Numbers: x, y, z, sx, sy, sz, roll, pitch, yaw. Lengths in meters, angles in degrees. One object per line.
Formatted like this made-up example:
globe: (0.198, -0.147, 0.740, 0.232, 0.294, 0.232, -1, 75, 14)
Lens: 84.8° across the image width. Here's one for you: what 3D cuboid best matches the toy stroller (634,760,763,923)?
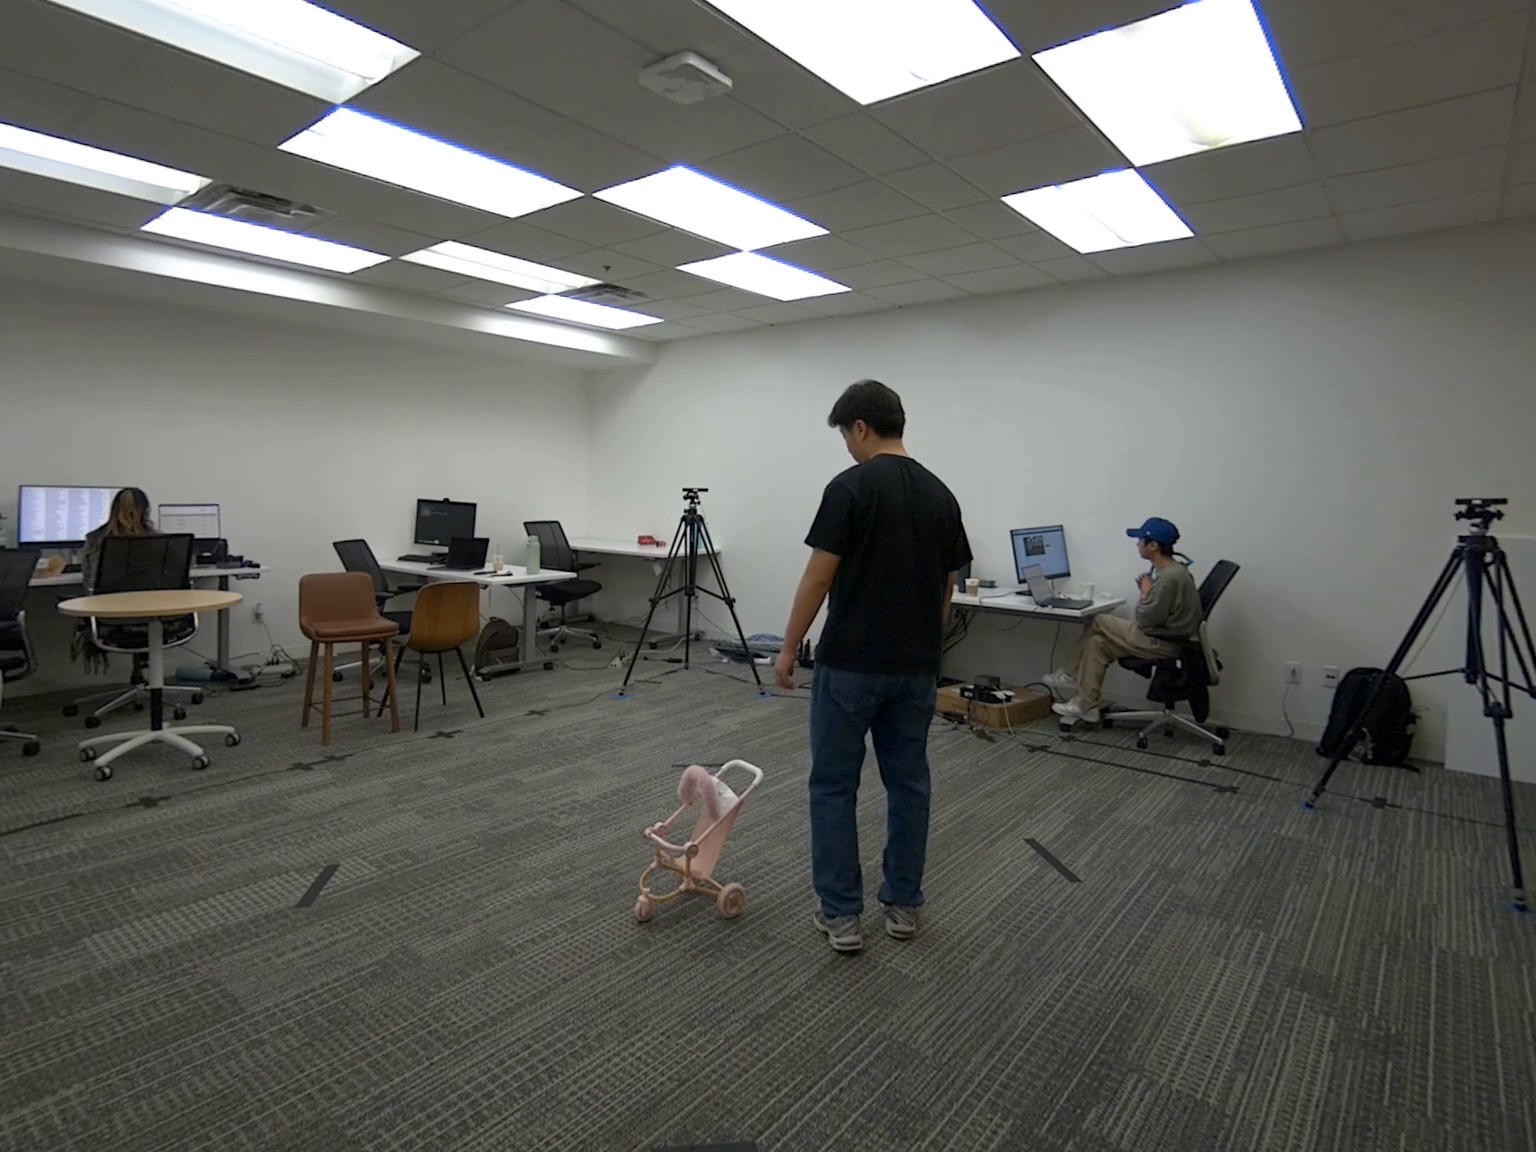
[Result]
toy stroller: (-0.256, 0.868, 2.820, 0.330, 0.536, 0.290, 16, -4, -31)
